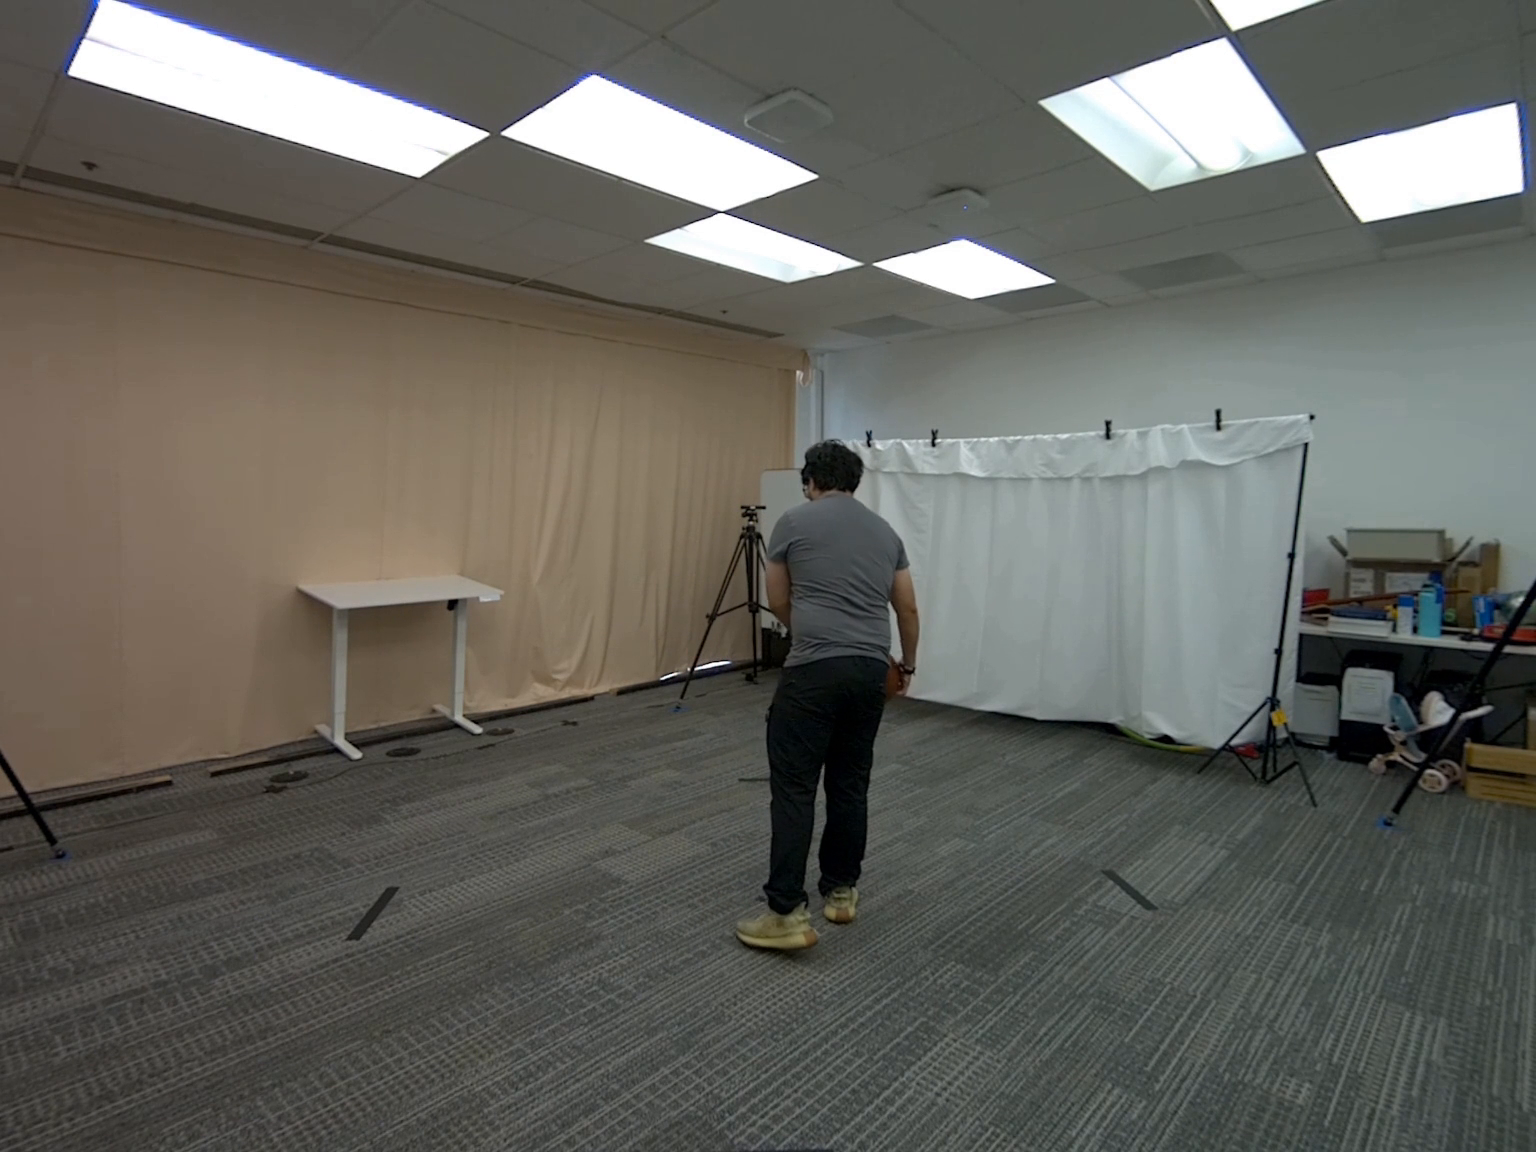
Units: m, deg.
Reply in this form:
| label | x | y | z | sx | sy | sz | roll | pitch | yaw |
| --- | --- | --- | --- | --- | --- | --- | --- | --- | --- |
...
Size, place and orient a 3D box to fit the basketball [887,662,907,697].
| label | x | y | z | sx | sy | sz | roll | pitch | yaw |
| --- | --- | --- | --- | --- | --- | --- | --- | --- | --- |
| basketball | 0.372 | 0.368 | 3.141 | 0.236 | 0.235 | 0.237 | 0 | 4 | -2 |
